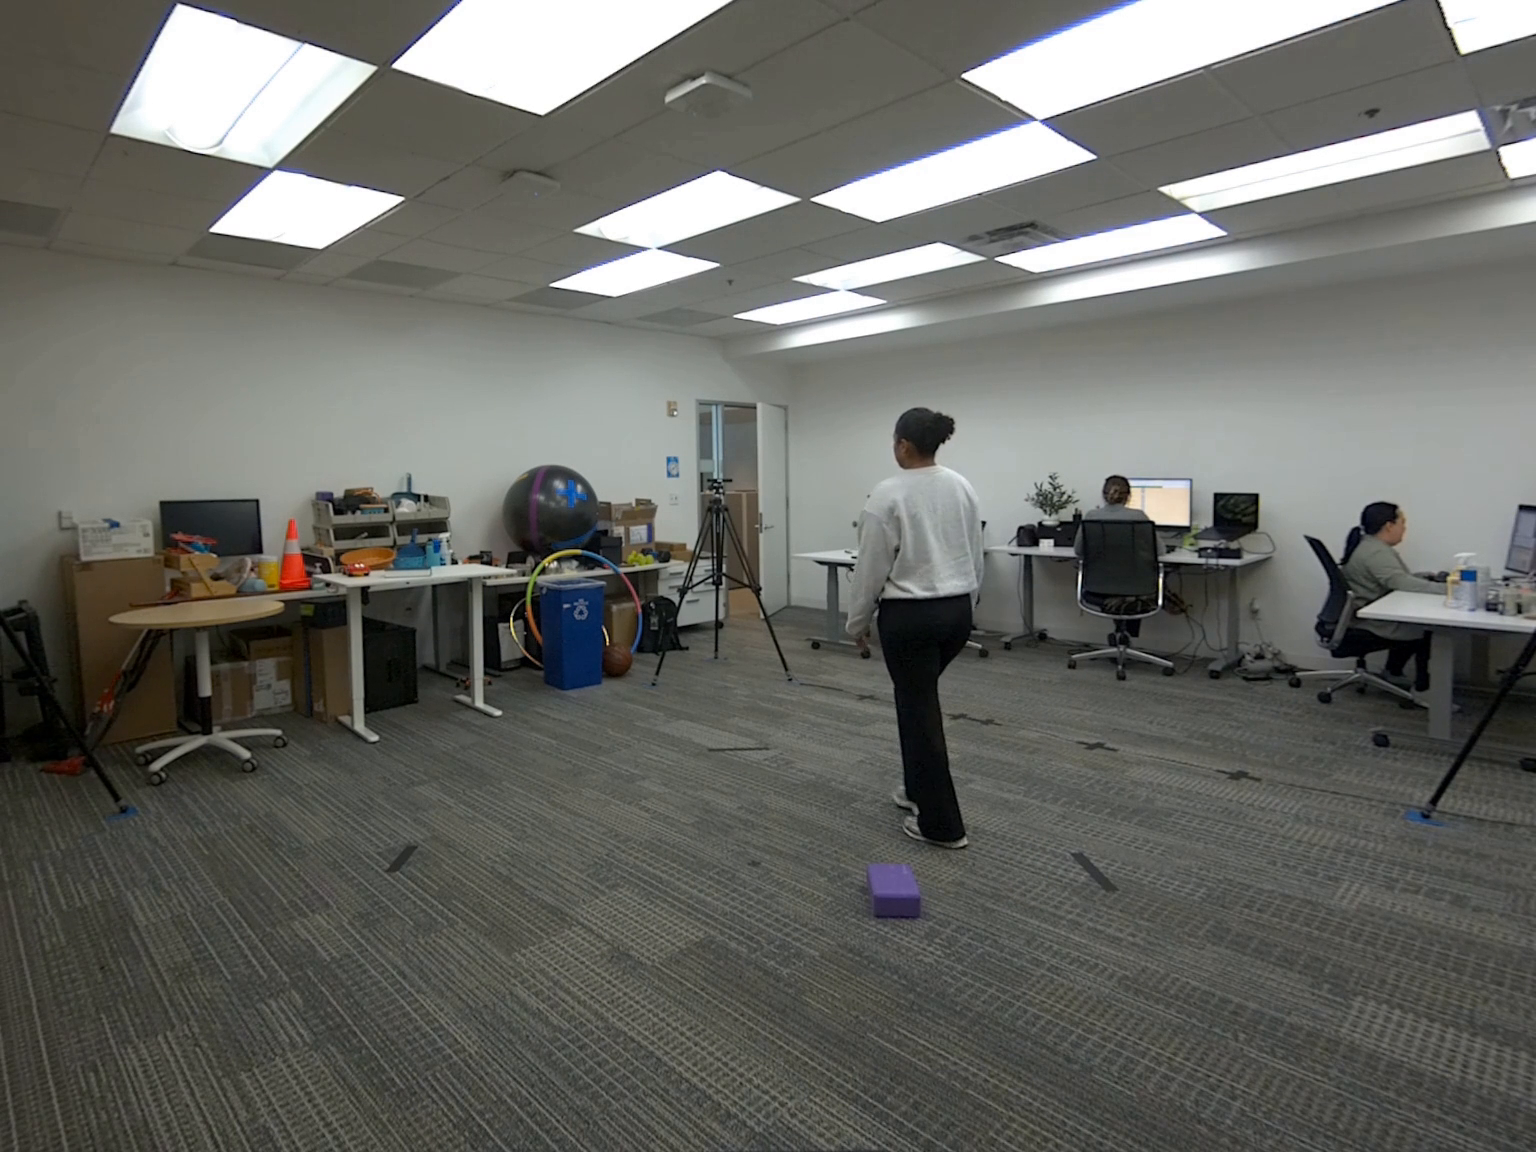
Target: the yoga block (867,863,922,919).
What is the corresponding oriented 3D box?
[{"bbox_3d":[0.416,1.031,2.809,0.149,0.076,0.230,-2,6,2],"label":"yoga block"}]
